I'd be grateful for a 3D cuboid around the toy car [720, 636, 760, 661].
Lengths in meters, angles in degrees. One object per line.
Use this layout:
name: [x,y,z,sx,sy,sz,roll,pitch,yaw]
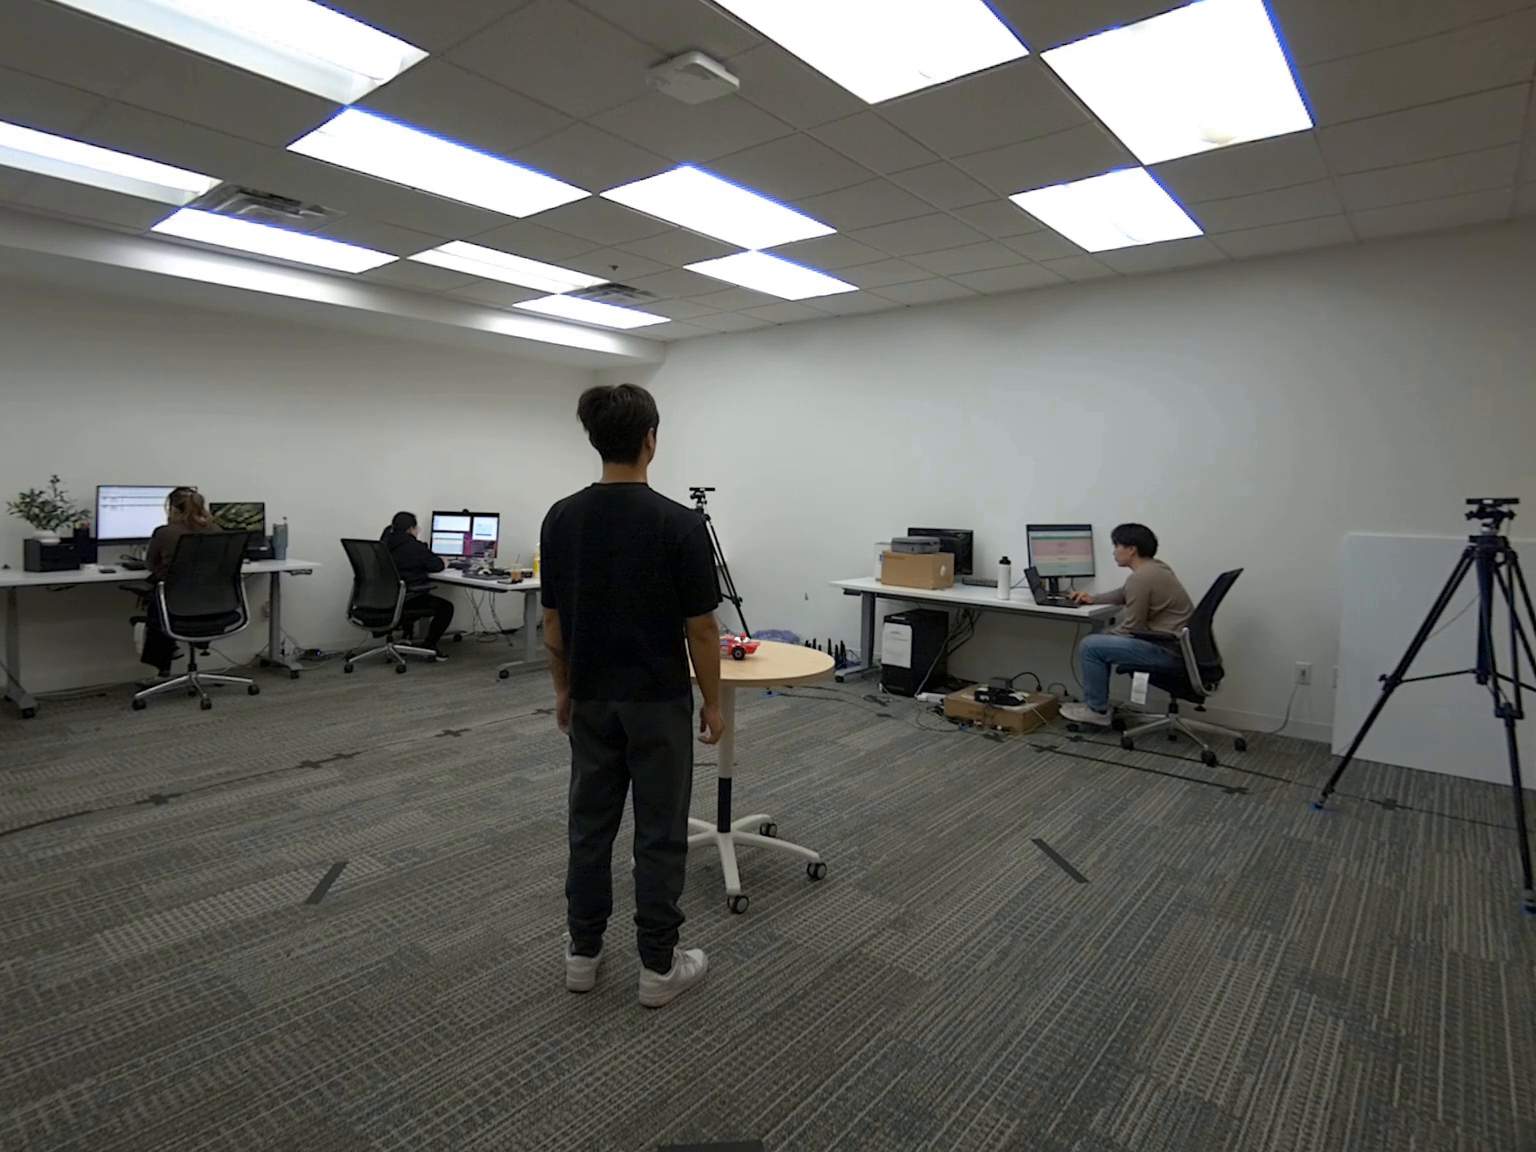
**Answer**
toy car: [-0.162,0.257,3.058,0.256,0.083,0.130,-10,3,5]
